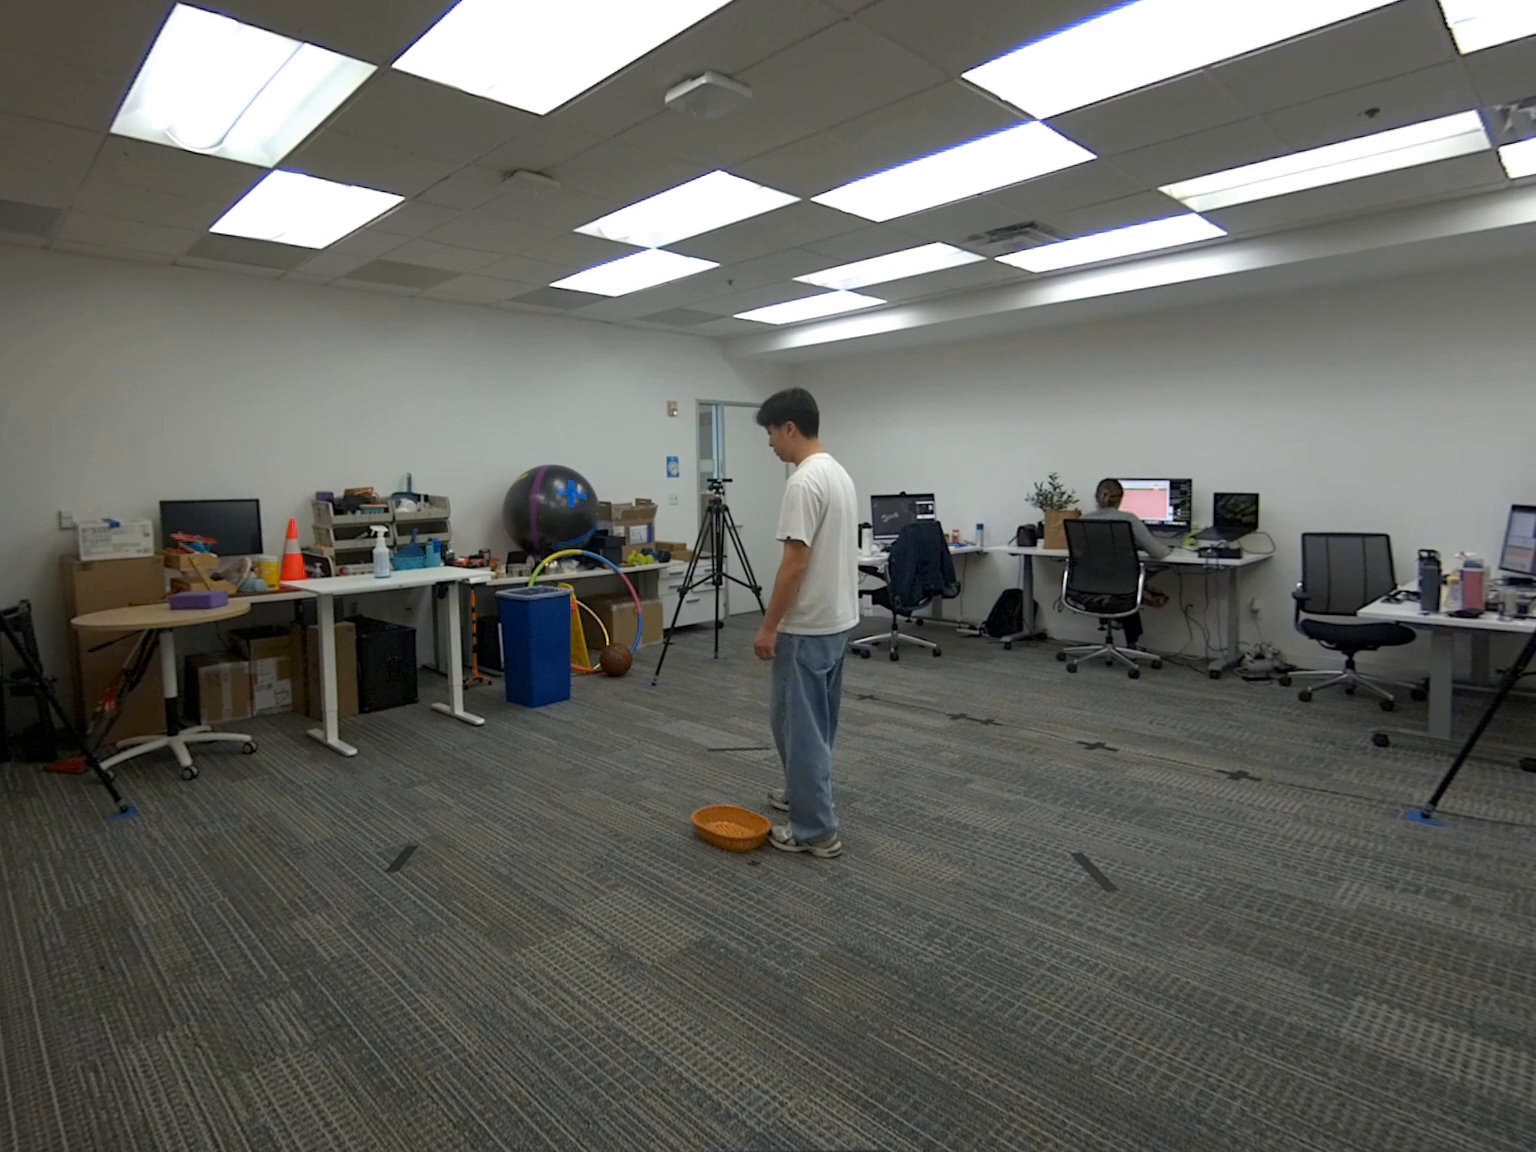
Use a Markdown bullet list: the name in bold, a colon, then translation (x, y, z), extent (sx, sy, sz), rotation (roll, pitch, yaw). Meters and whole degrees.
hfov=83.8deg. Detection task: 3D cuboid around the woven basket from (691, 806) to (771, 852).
- **woven basket**: translation (-0.145, 0.982, 3.320), extent (0.246, 0.073, 0.361), rotation (-4, 7, -39)
